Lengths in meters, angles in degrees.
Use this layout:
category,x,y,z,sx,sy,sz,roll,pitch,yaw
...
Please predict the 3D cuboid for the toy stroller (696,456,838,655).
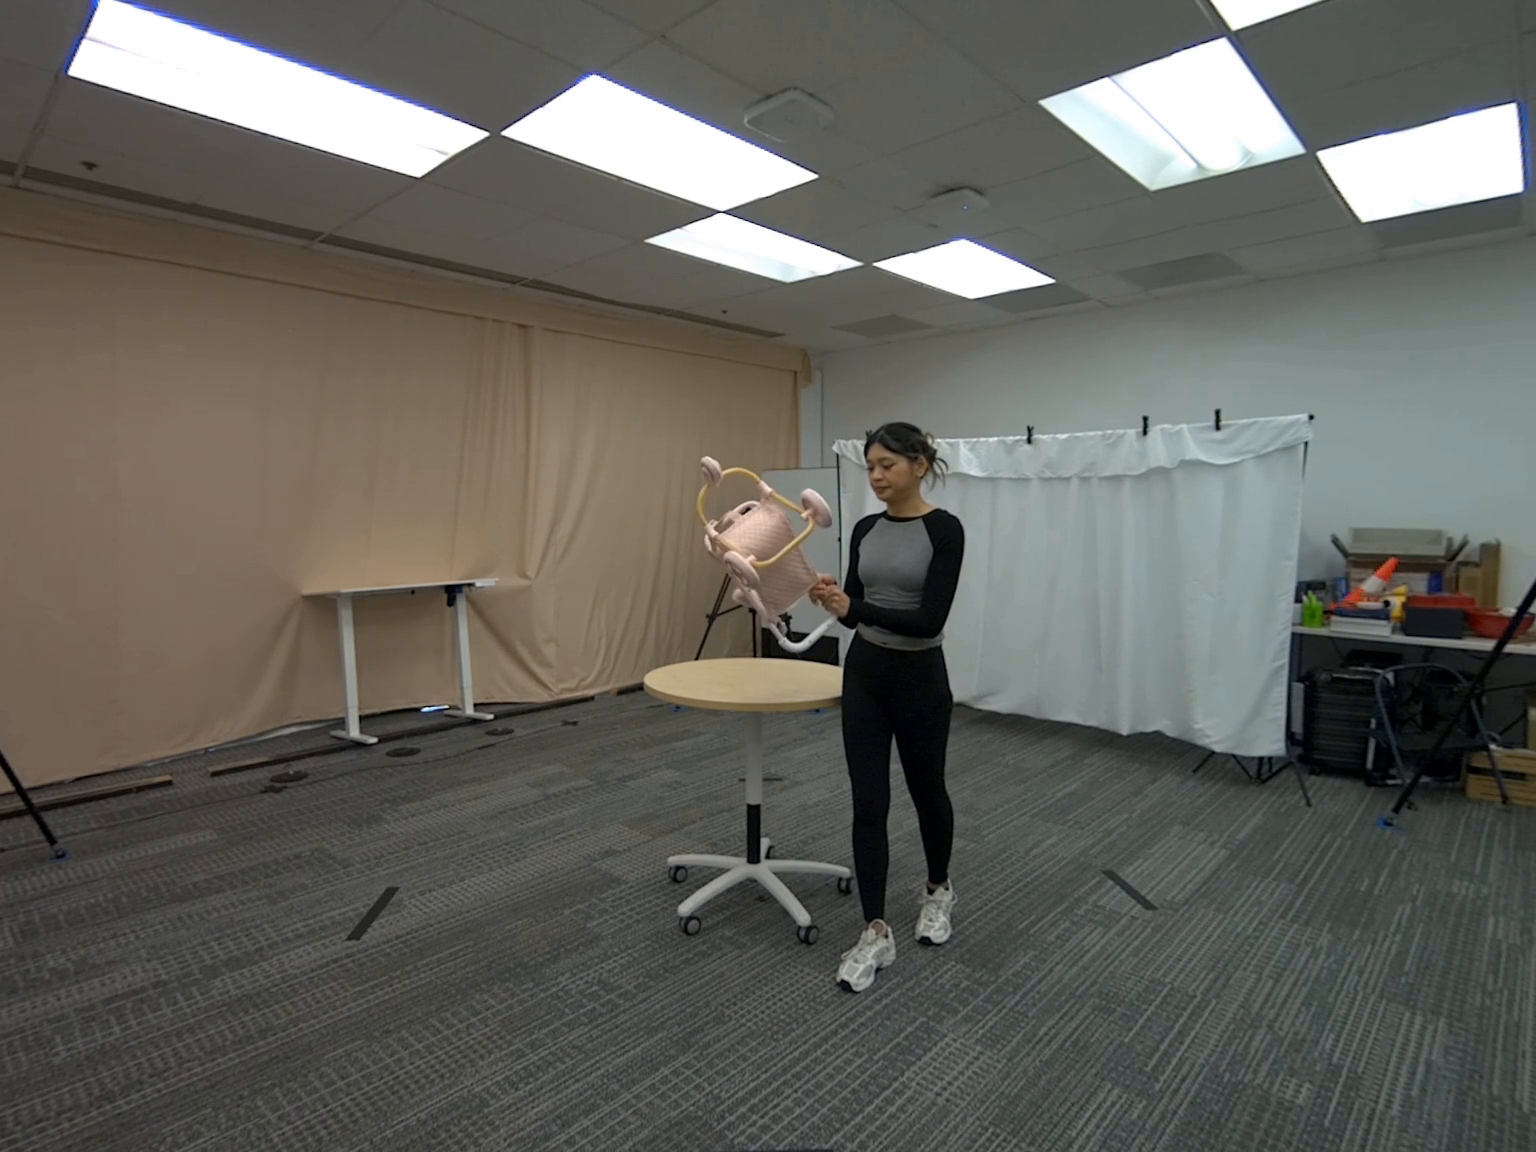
category,x,y,z,sx,sy,sz,roll,pitch,yaw
toy stroller,-0.010,-0.068,2.233,0.353,0.280,0.520,37,-20,32
